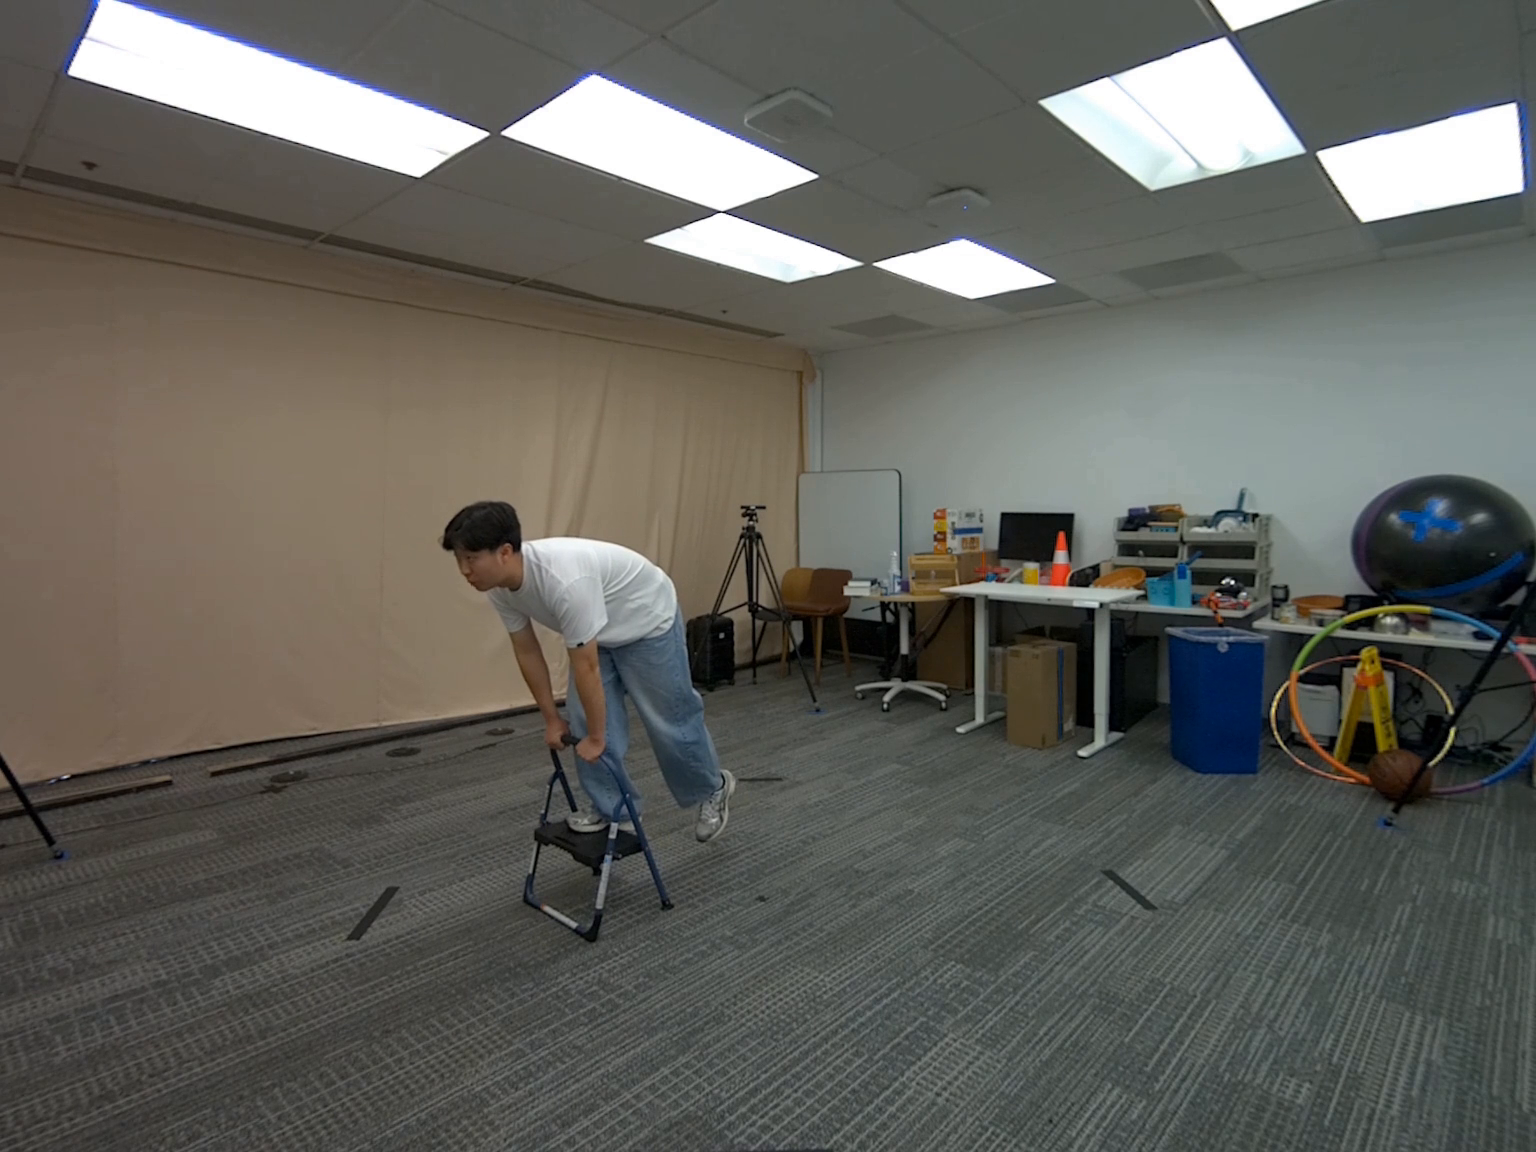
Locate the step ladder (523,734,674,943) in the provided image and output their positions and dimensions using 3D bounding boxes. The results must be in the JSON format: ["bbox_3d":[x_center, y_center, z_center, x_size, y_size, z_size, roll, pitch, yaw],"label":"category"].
[{"bbox_3d":[-0.603,0.850,2.933,0.445,0.605,0.338,2,4,43],"label":"step ladder"}]
